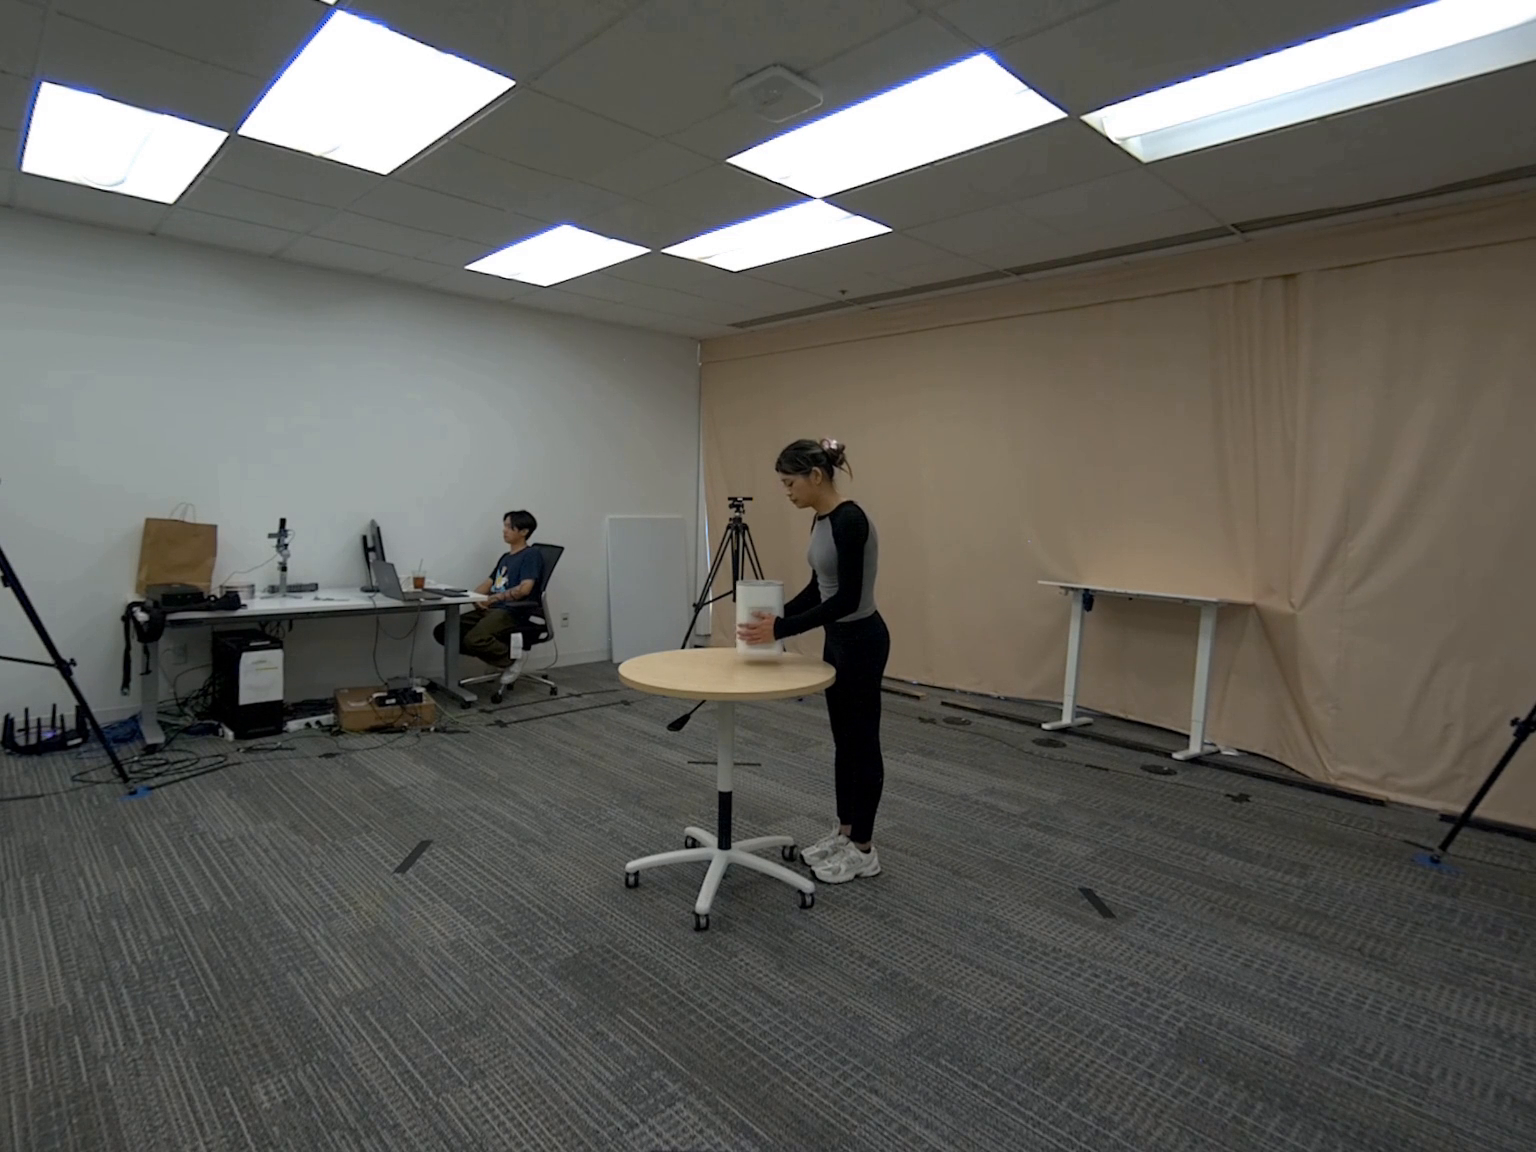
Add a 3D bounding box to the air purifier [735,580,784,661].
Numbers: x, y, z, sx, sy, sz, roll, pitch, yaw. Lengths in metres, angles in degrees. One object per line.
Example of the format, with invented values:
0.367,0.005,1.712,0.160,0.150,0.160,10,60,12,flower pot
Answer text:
-0.031,0.152,3.049,0.171,0.265,0.172,0,4,-4,air purifier
